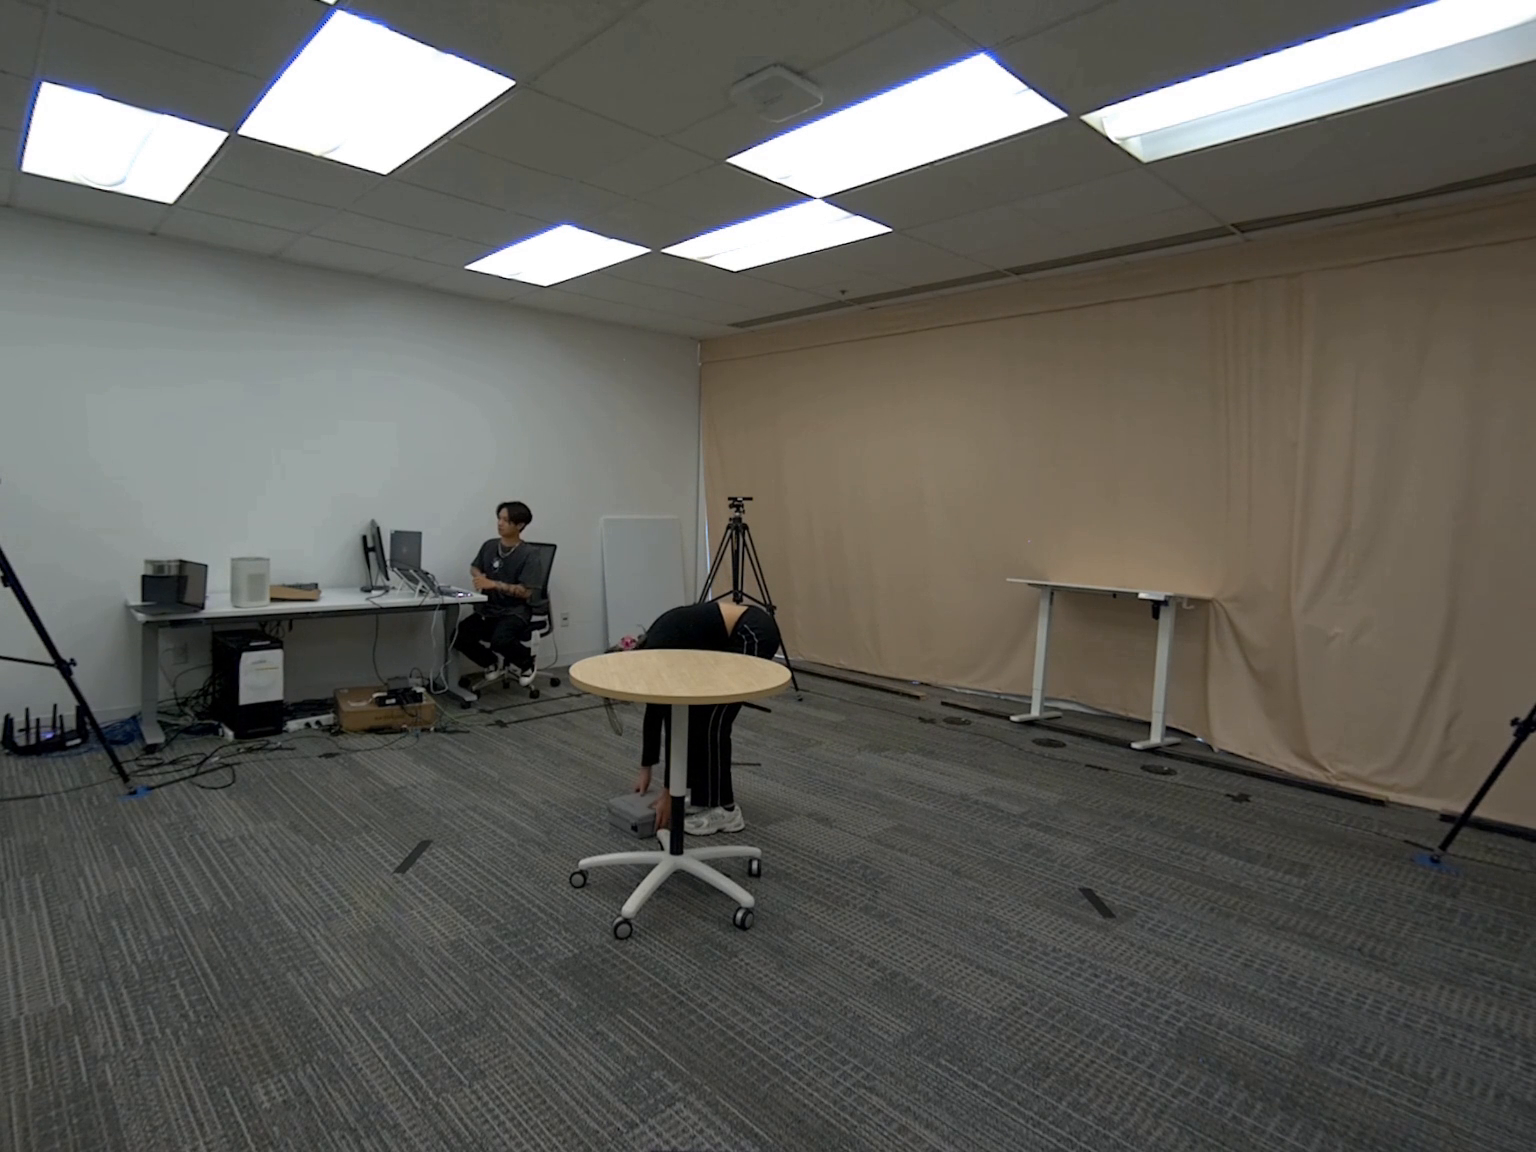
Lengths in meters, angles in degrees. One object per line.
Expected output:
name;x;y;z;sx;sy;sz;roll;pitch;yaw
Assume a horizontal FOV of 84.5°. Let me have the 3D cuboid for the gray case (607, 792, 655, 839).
gray case;-0.524;0.998;3.570;0.254;0.104;0.263;-2;5;-43
